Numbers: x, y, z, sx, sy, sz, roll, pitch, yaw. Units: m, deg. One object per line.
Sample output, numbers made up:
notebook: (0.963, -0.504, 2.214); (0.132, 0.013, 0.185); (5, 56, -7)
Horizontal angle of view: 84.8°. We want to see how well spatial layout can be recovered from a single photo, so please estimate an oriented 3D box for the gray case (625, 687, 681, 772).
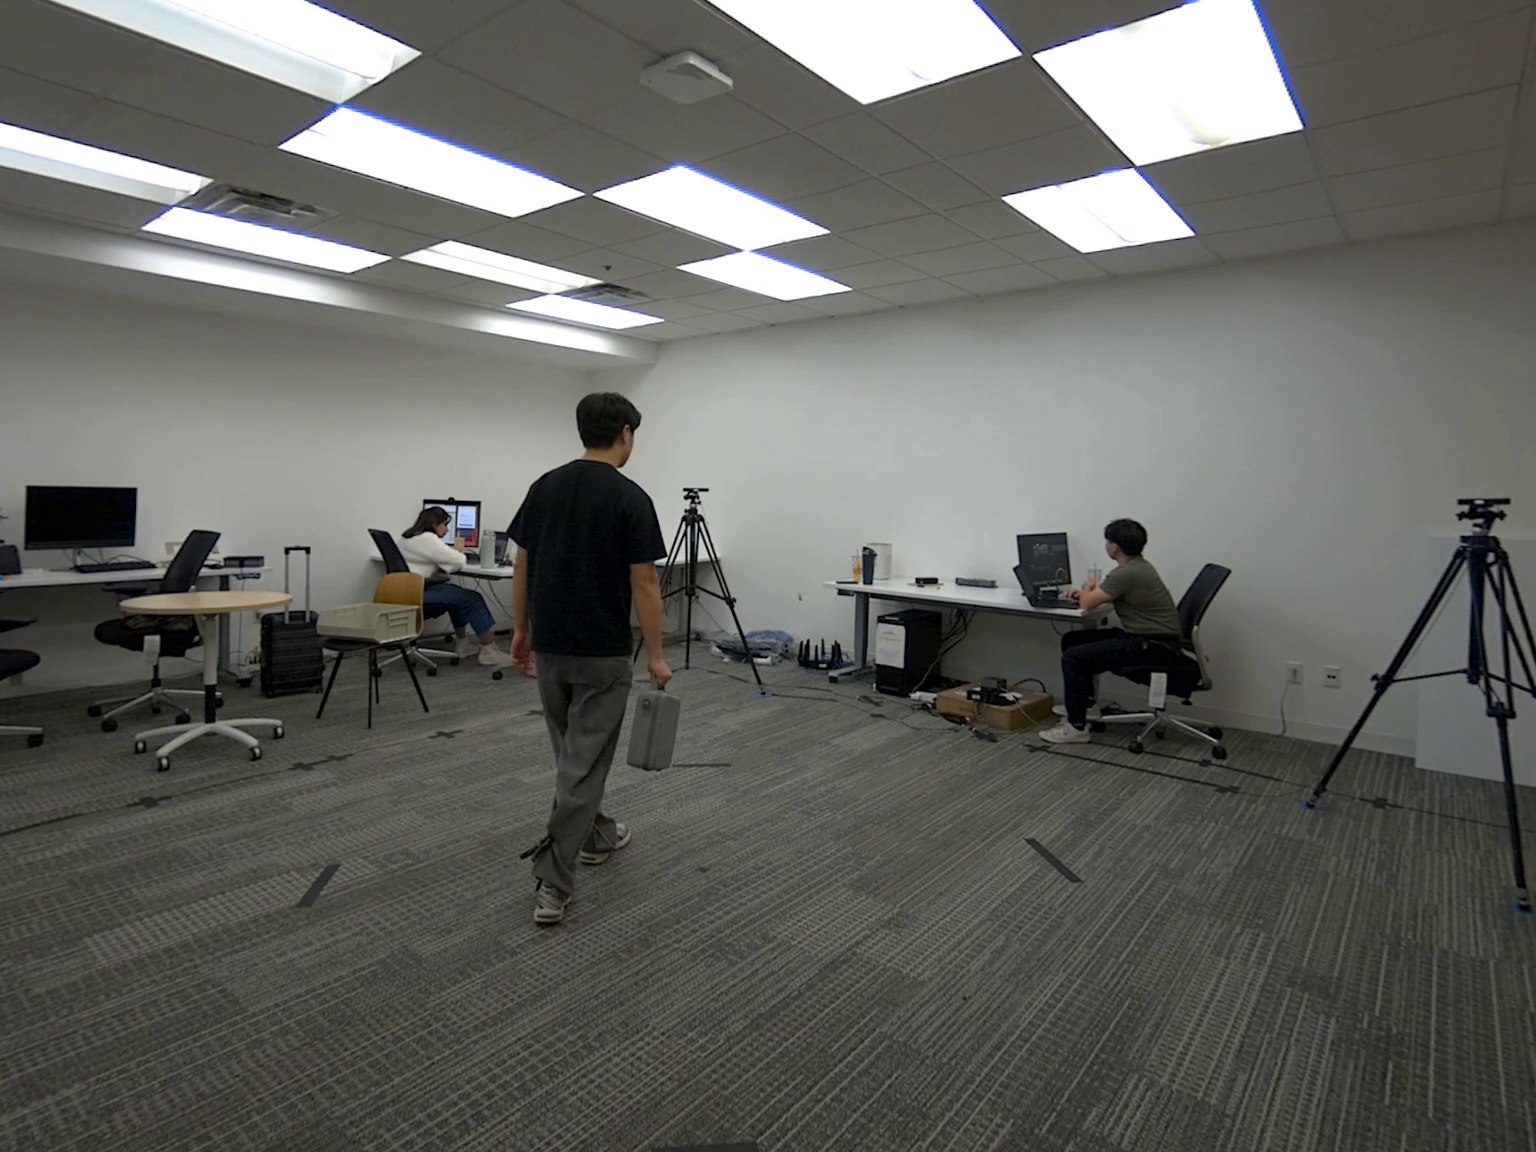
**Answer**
gray case: (-0.394, 0.494, 2.858); (0.104, 0.290, 0.258); (7, -14, 6)
